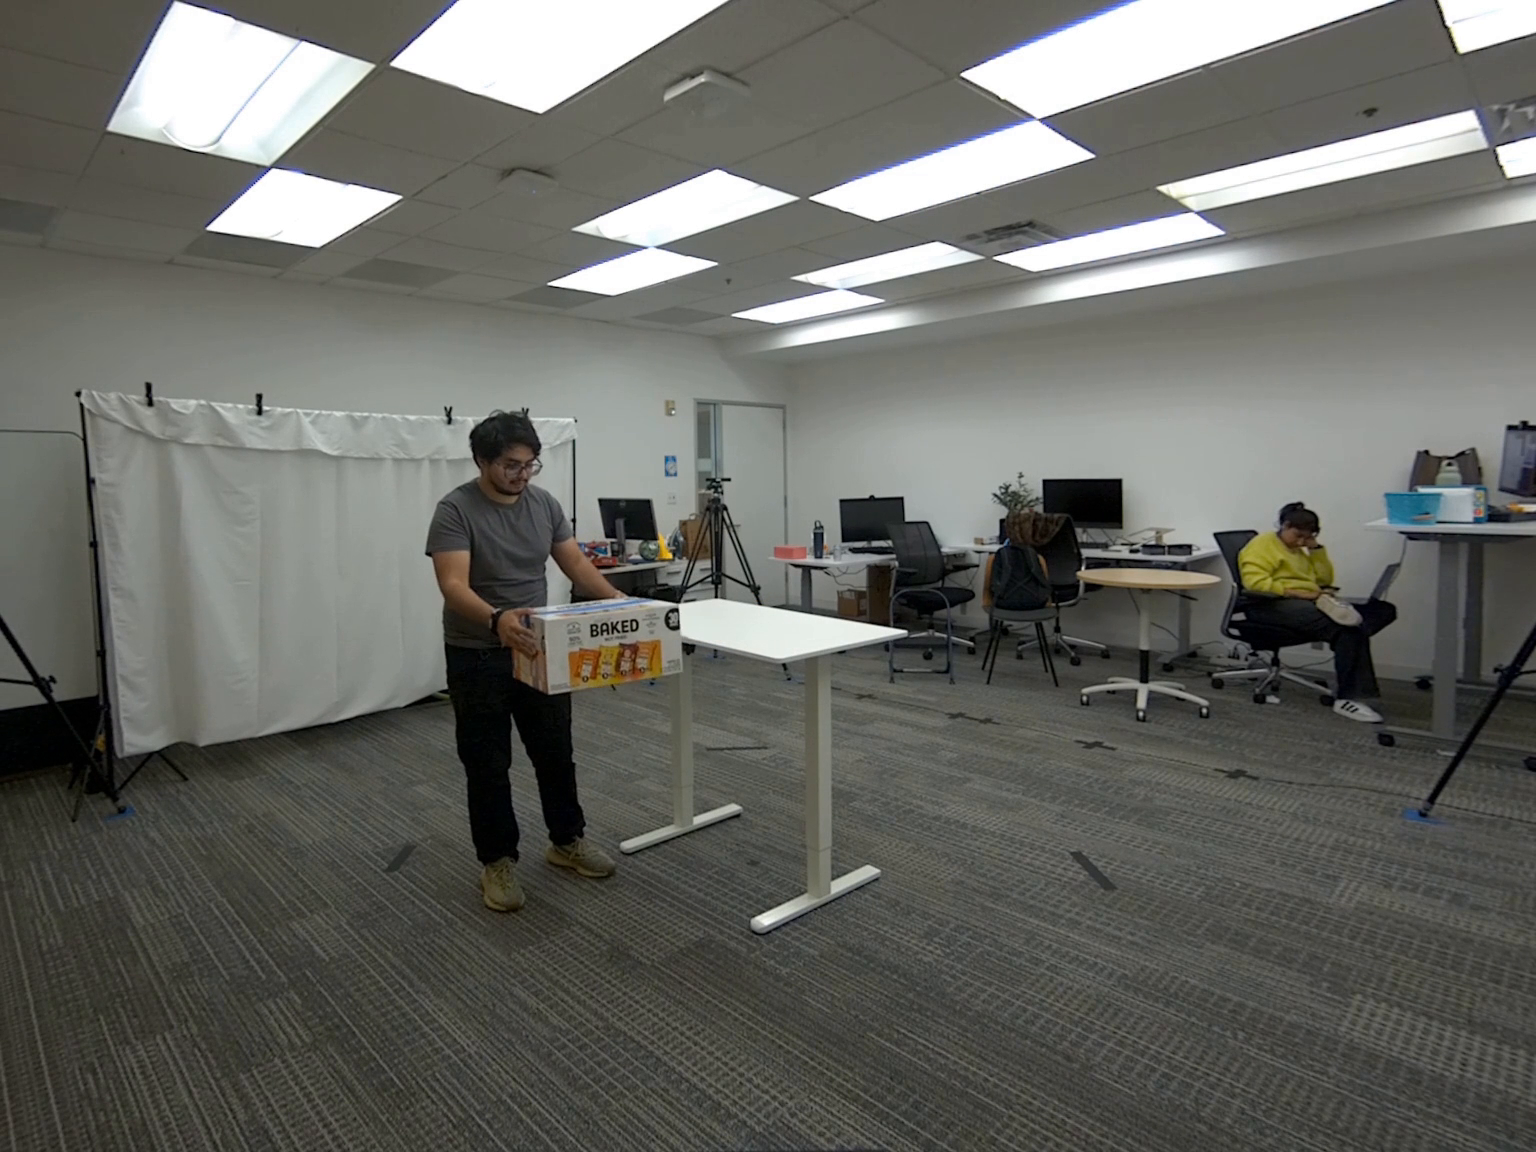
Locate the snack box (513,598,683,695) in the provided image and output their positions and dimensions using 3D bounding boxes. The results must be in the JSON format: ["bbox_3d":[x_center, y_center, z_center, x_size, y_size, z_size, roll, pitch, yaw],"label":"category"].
[{"bbox_3d":[-0.504,0.194,2.513,0.396,0.205,0.349,-6,4,-32],"label":"snack box"}]
